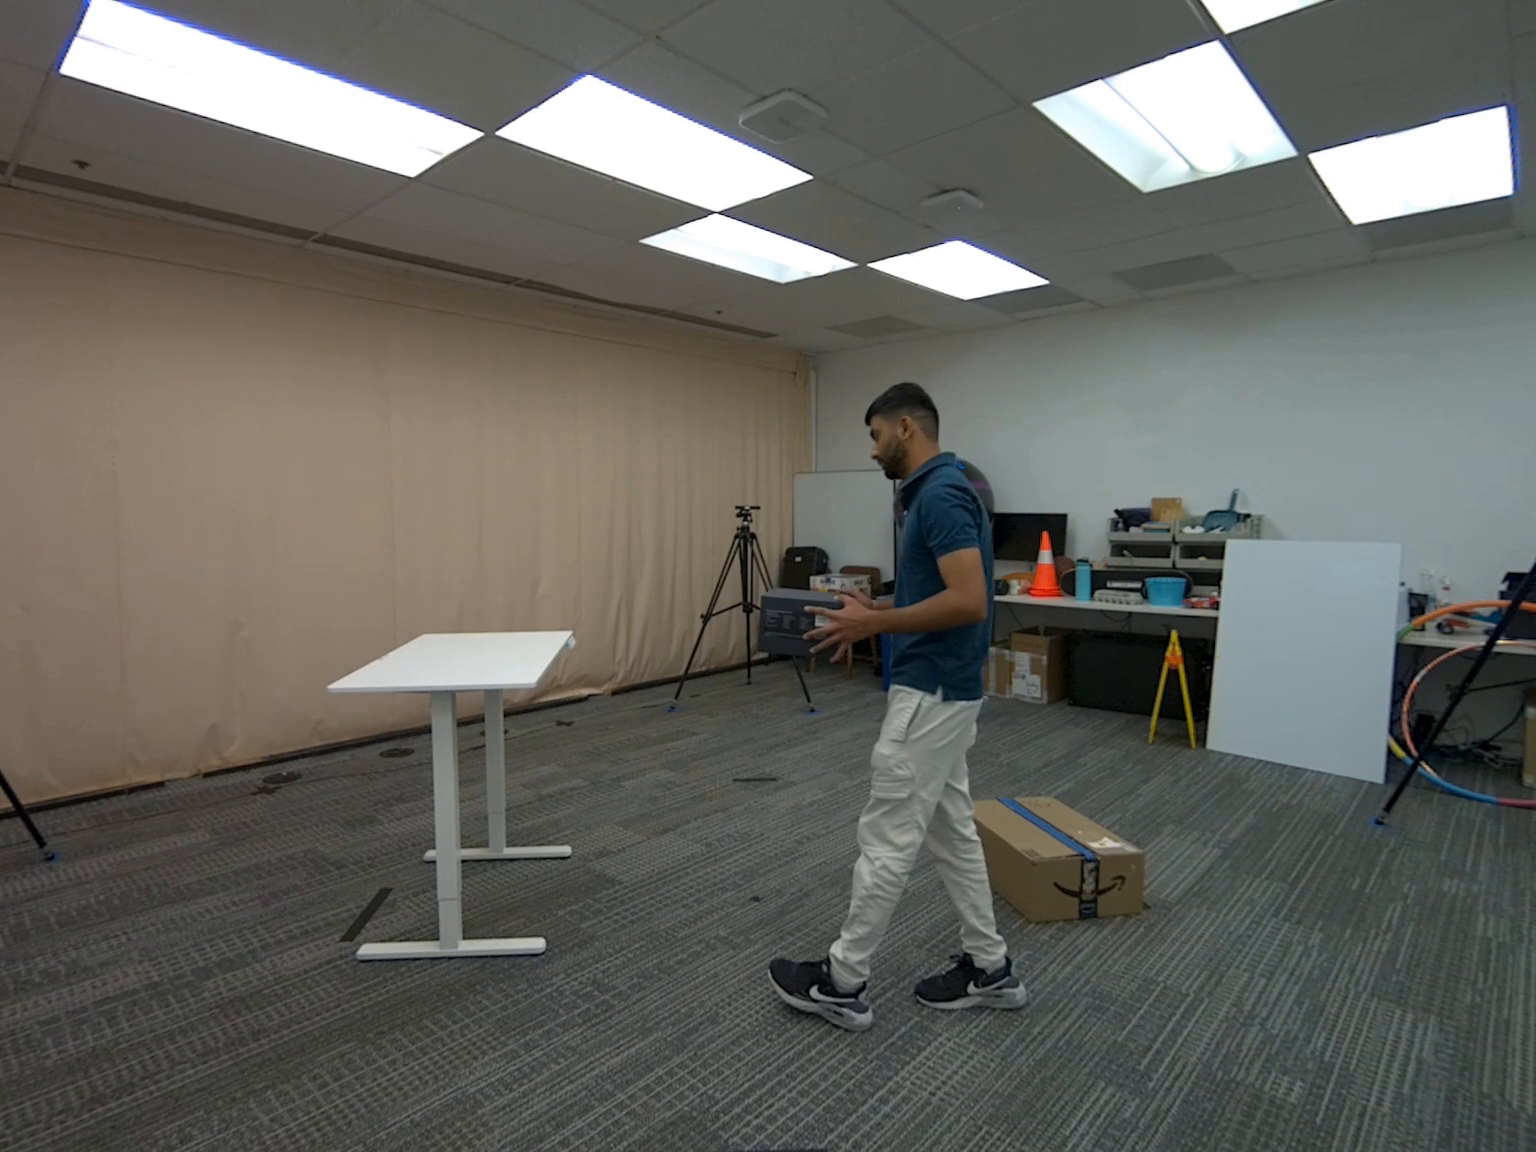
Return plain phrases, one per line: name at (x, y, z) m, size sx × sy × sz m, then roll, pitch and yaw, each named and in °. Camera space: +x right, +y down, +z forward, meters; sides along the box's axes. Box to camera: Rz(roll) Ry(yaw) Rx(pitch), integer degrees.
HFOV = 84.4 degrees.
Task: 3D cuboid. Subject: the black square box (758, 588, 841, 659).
black square box at (0.101, 0.130, 2.362) m, size 0.220 × 0.155 × 0.225 m, roll 4°, pitch 5°, yaw 10°
